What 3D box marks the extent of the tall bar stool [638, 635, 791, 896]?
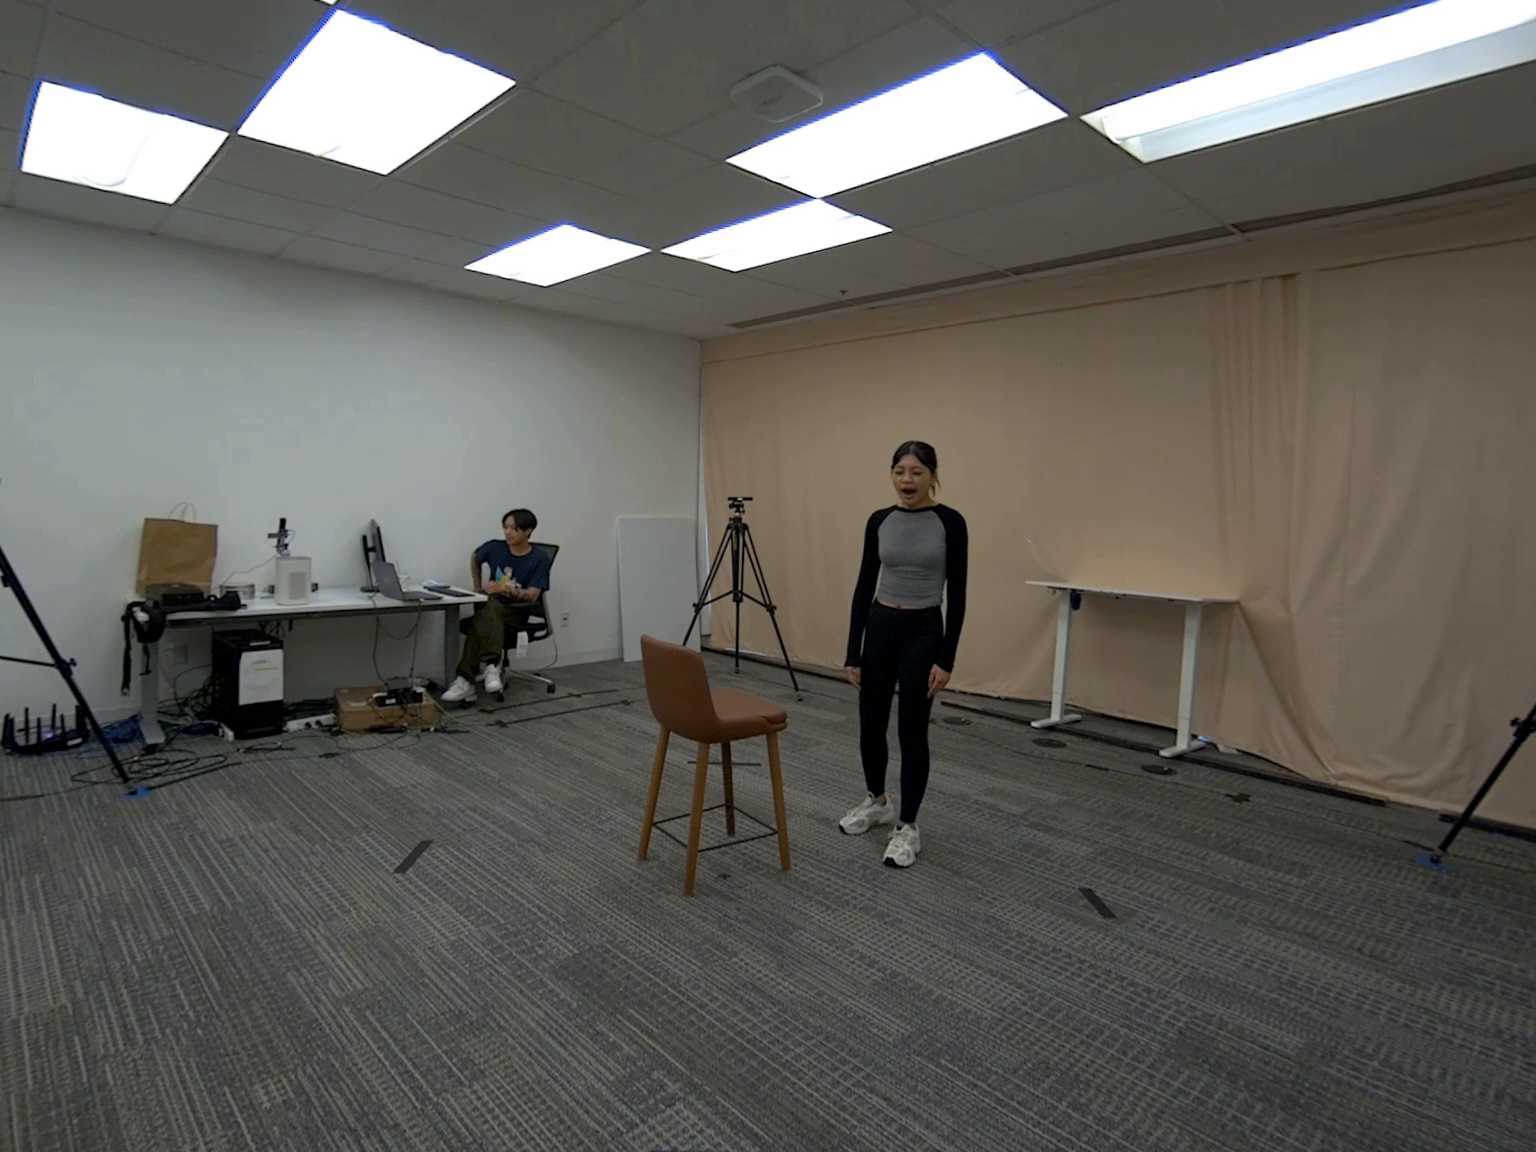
[{"bbox_3d":[-0.213,0.663,3.182,0.458,0.887,0.467,-3,5,-35],"label":"tall bar stool"}]
